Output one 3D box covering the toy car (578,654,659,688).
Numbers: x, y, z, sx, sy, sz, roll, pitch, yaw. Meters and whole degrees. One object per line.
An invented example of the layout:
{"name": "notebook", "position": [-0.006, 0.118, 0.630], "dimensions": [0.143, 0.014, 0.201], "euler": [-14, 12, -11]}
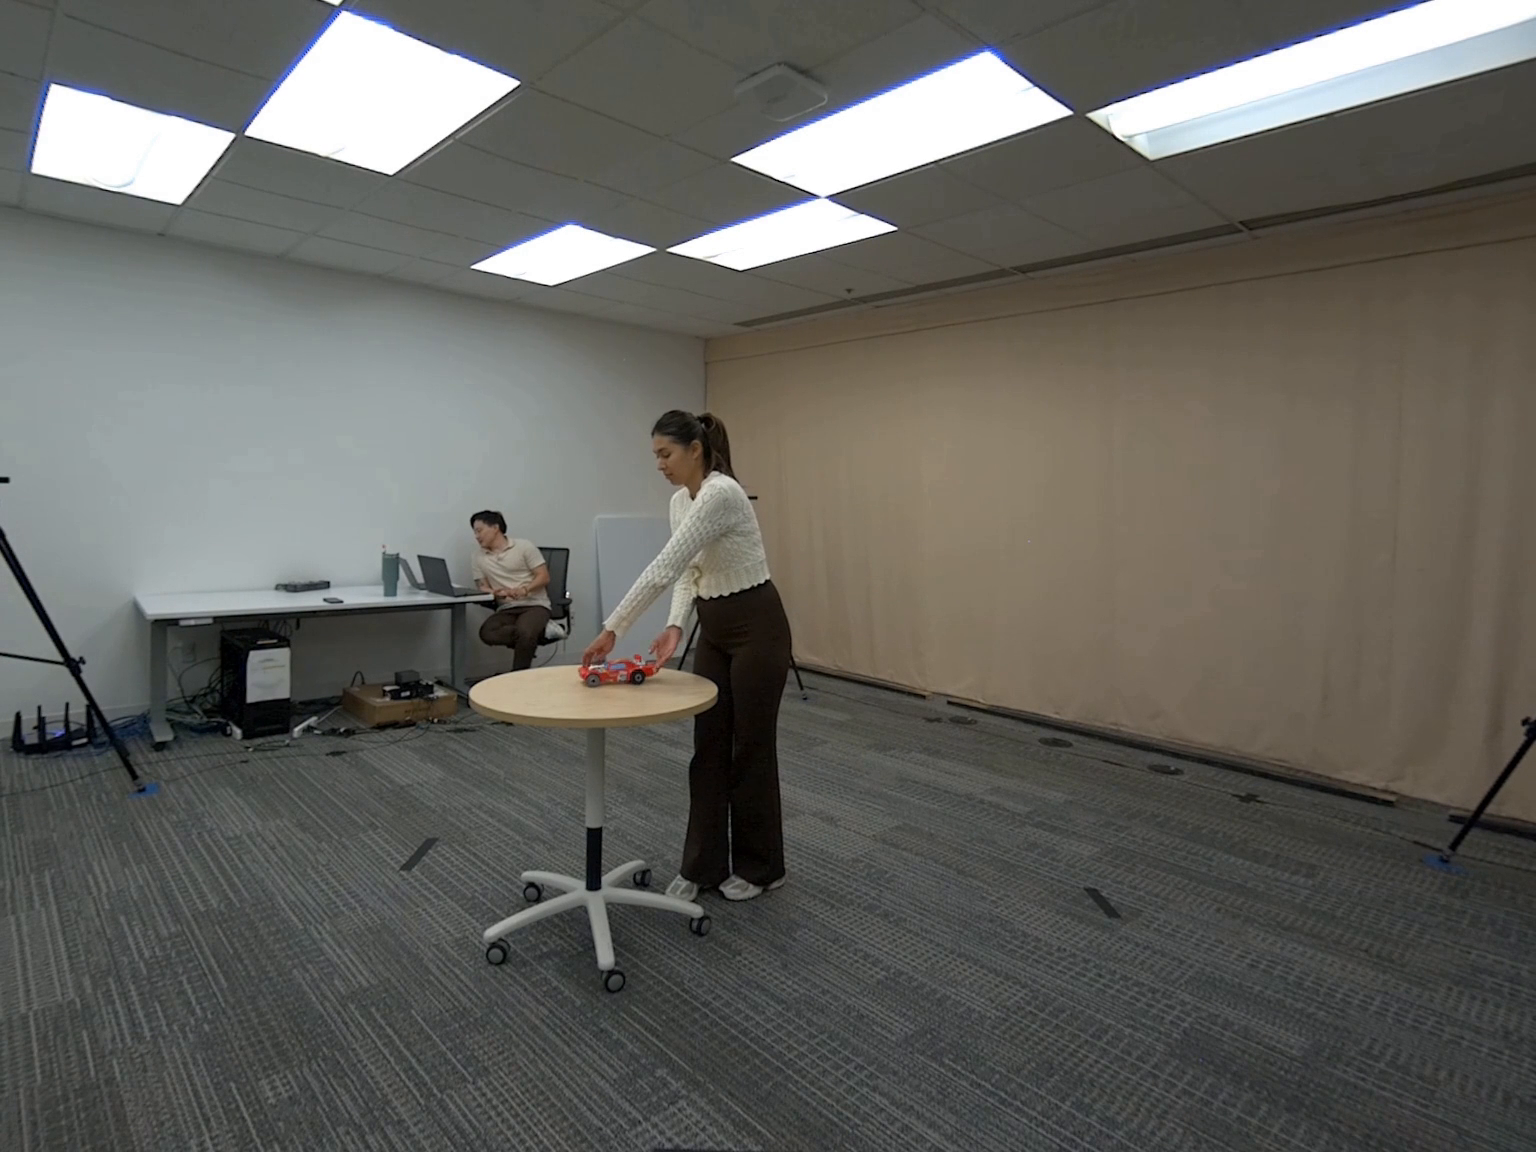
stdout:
{"name": "toy car", "position": [-0.493, 0.315, 2.723], "dimensions": [0.251, 0.082, 0.133], "euler": [-13, 9, -20]}
